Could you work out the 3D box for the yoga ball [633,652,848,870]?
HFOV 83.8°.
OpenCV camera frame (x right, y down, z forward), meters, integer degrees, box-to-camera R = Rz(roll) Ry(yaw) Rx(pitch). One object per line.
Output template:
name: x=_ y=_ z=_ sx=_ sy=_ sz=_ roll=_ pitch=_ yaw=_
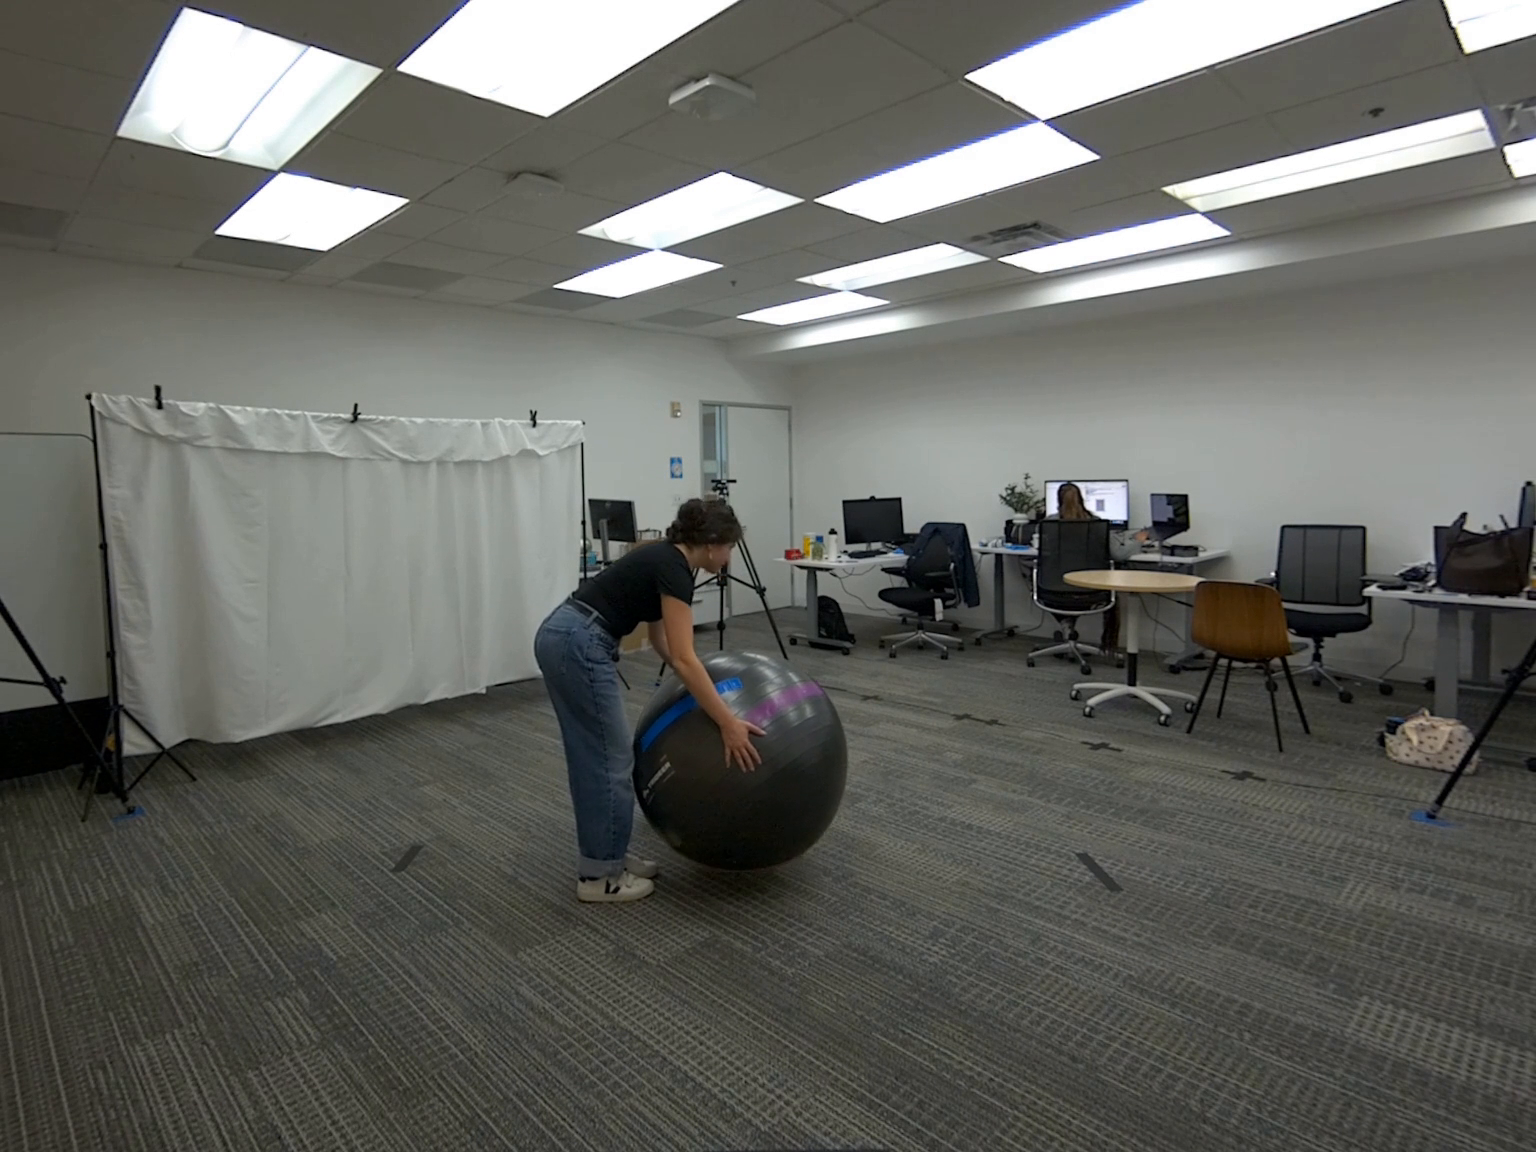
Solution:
yoga ball: x=-0.089 y=0.644 z=3.010 sx=0.757 sy=0.755 sz=0.762 roll=-1 pitch=5 yaw=-2
